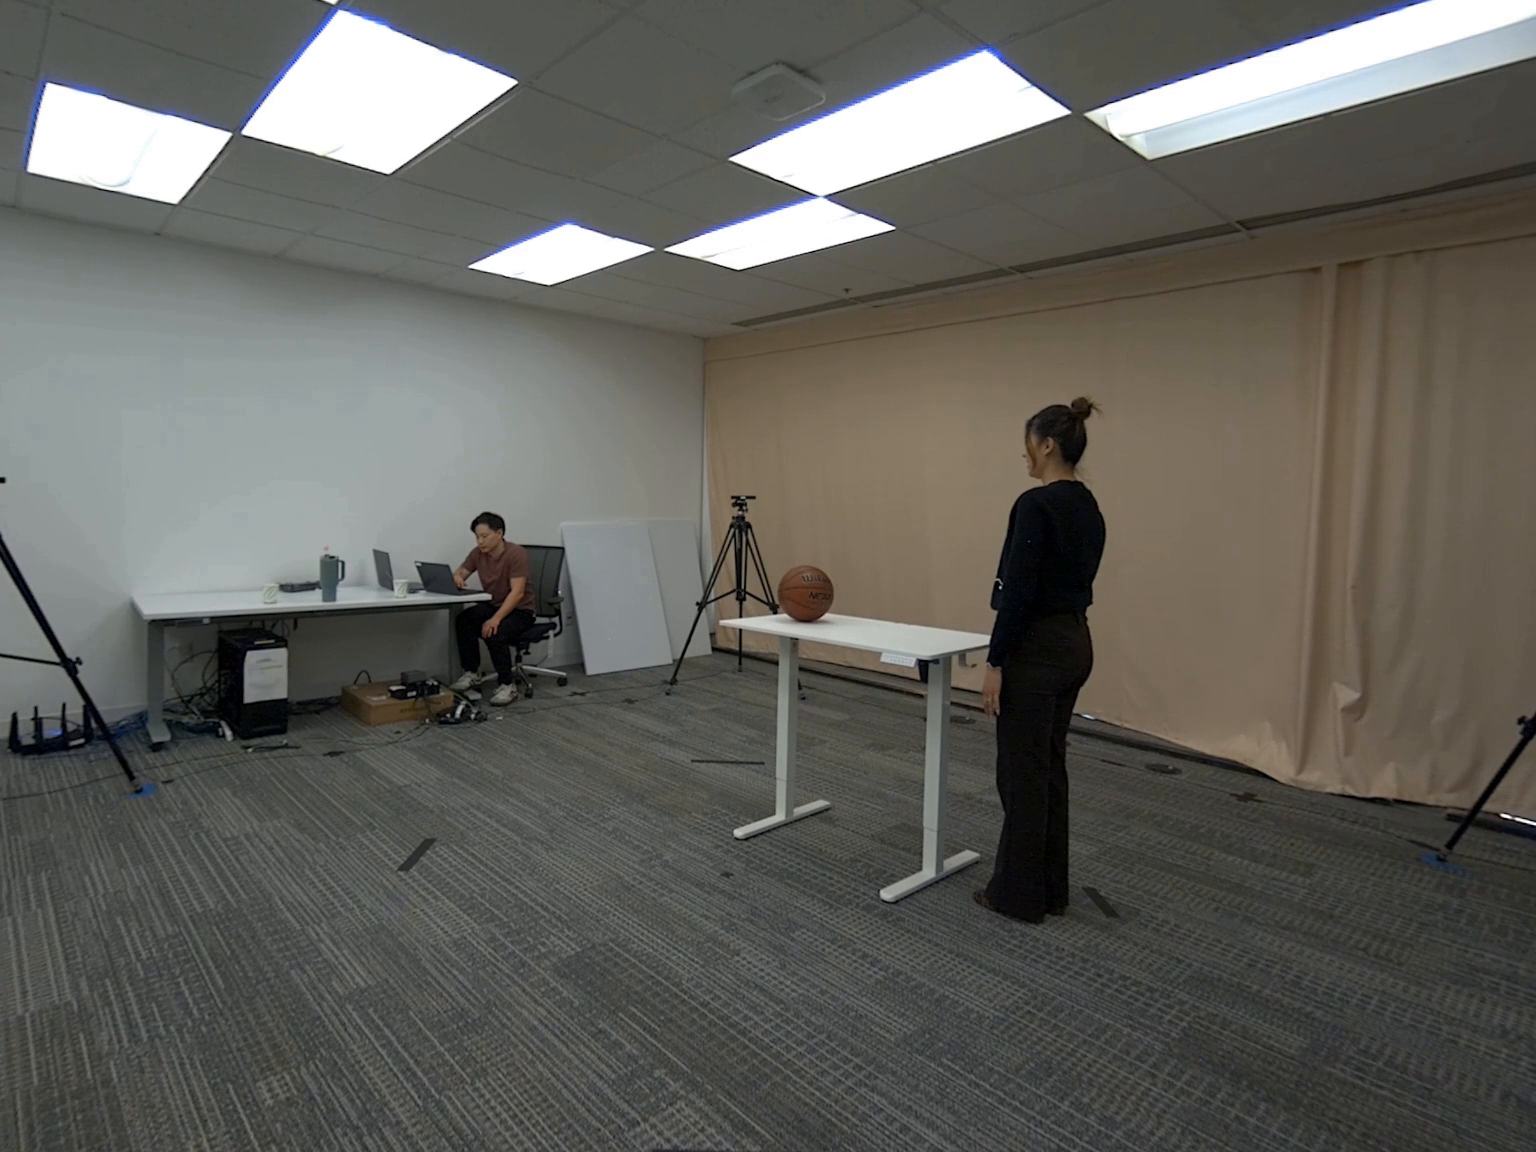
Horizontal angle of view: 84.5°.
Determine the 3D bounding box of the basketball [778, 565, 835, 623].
[{"bbox_3d":[0.152,0.076,3.546,0.236,0.235,0.237,1,4,-1],"label":"basketball"}]
